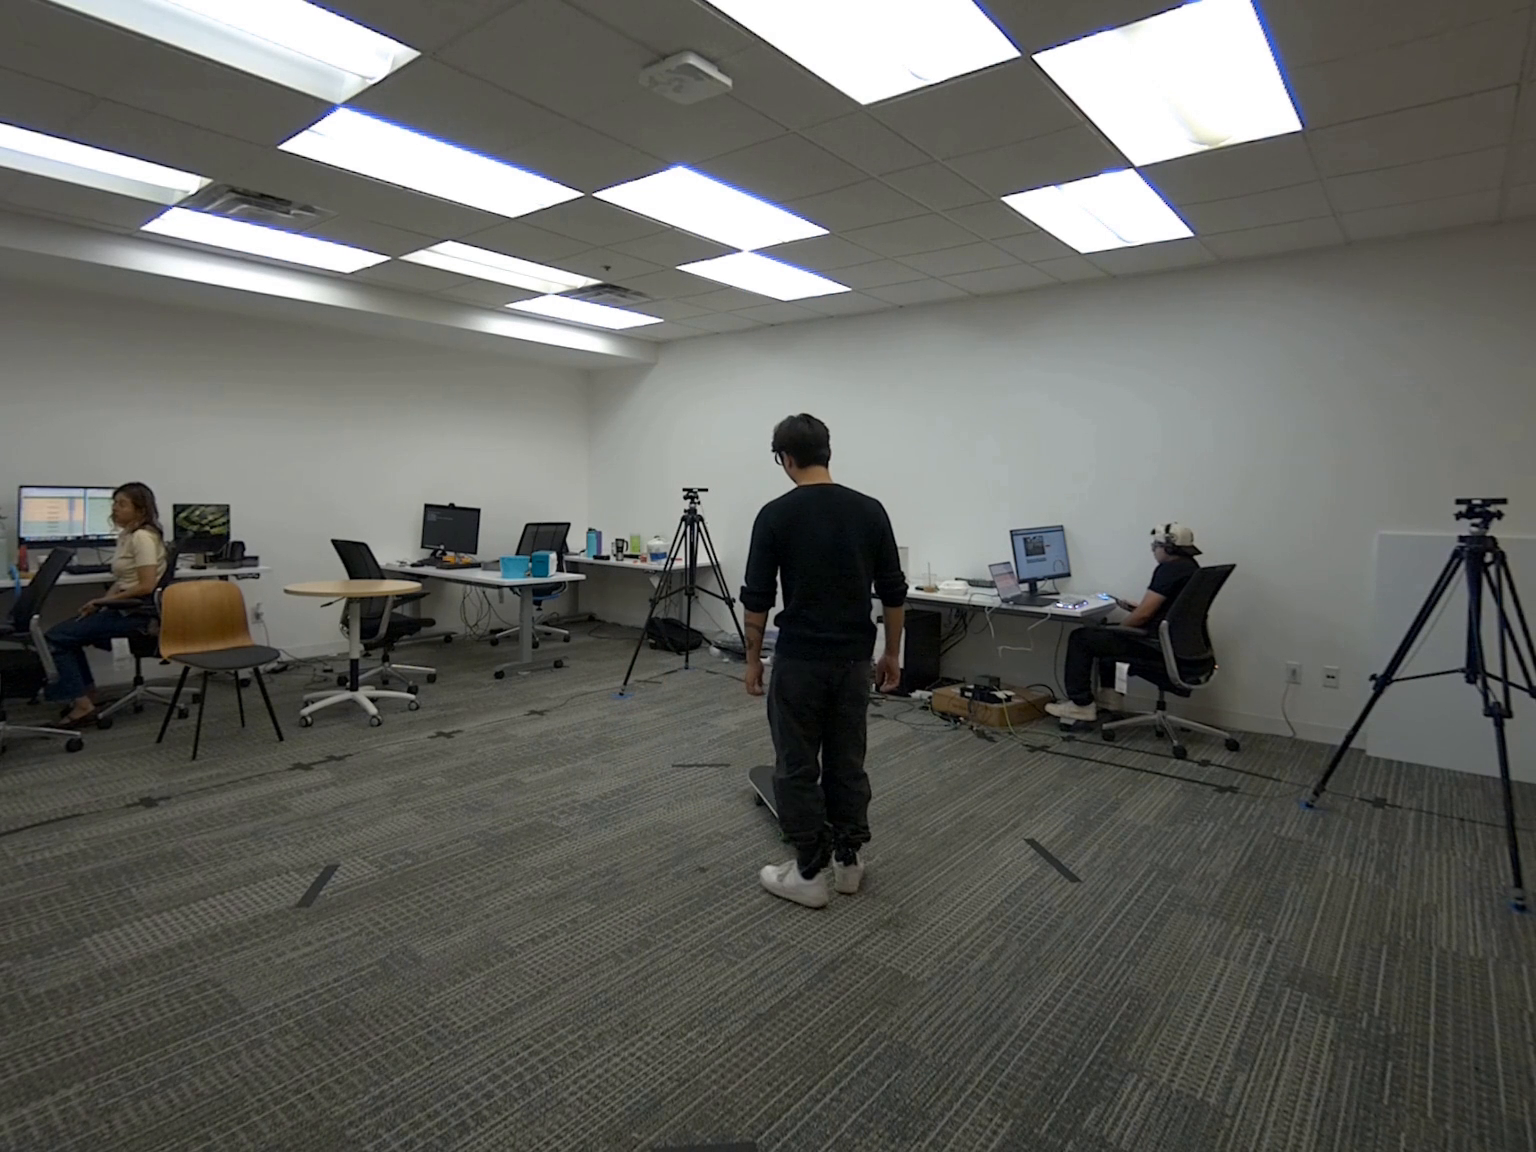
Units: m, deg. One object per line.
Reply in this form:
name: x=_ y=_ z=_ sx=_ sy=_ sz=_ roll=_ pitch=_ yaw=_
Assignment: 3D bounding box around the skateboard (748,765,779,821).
skateboard: x=0.080 y=0.967 z=3.584 sx=0.190 sy=0.110 sz=0.800 roll=-1 pitch=6 yaw=-16
